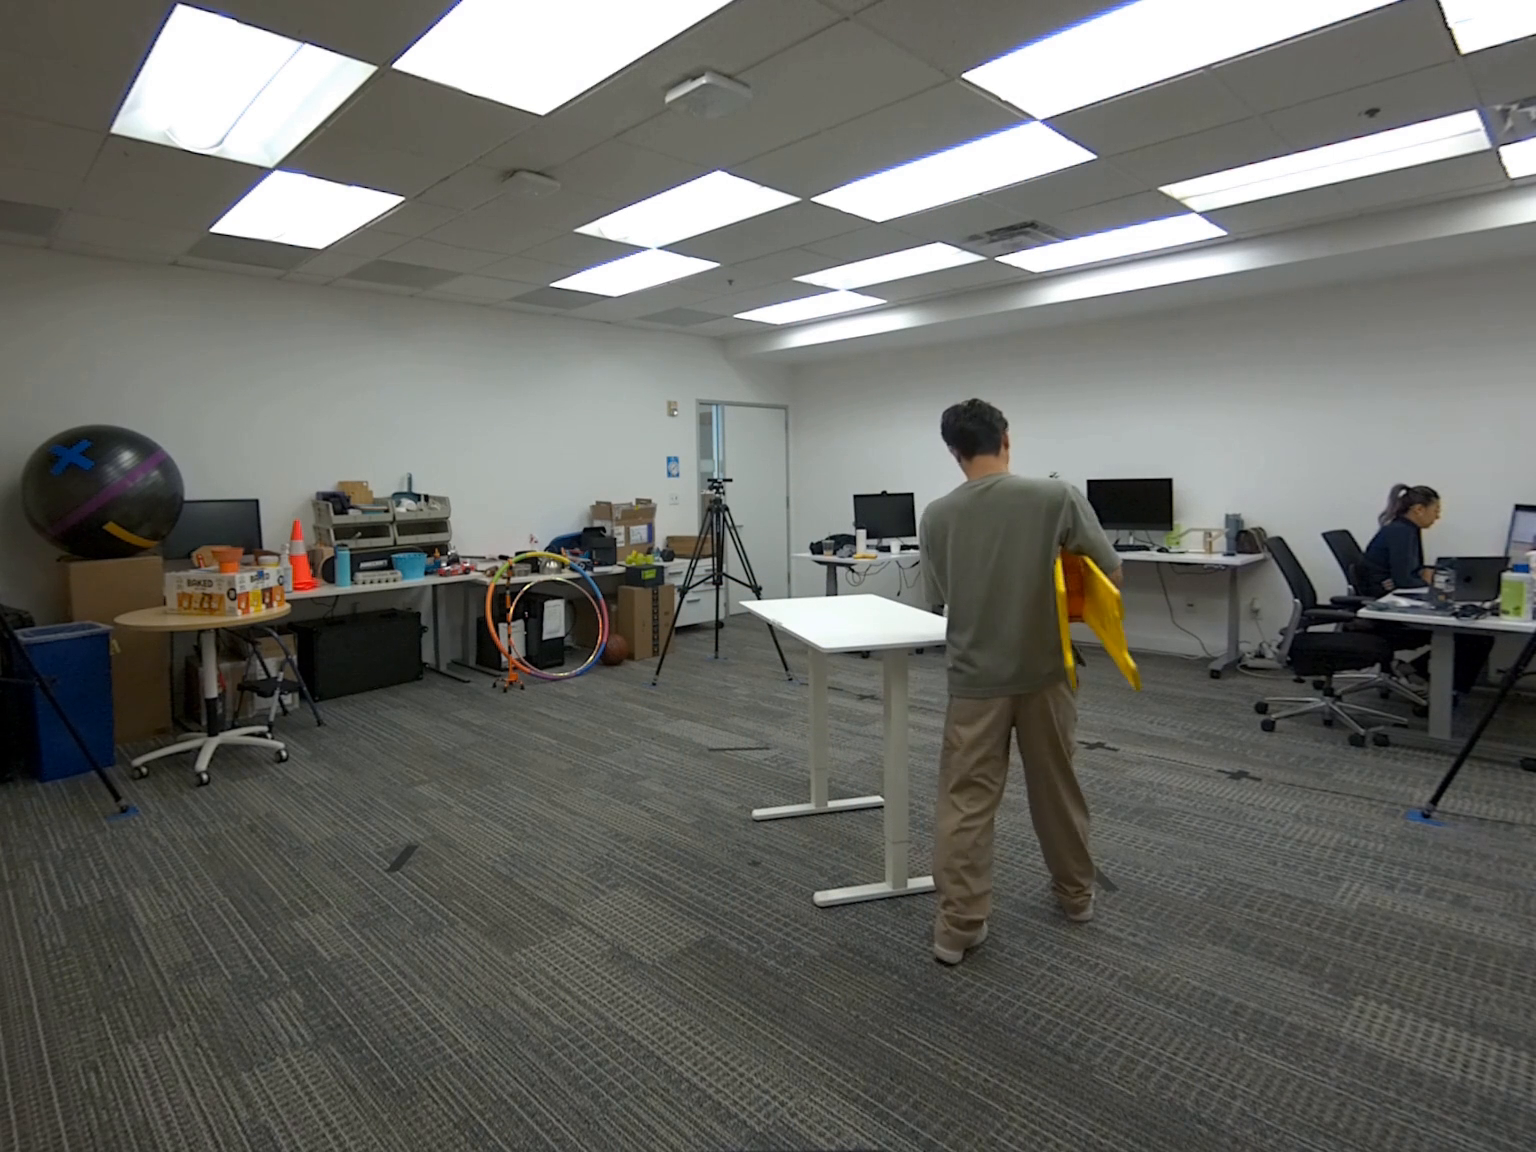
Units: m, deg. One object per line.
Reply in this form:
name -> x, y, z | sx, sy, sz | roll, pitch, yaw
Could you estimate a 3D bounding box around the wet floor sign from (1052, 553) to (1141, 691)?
wet floor sign -> 0.889, 0.063, 2.461 | 0.294, 0.278, 0.647 | -6, 17, 15
